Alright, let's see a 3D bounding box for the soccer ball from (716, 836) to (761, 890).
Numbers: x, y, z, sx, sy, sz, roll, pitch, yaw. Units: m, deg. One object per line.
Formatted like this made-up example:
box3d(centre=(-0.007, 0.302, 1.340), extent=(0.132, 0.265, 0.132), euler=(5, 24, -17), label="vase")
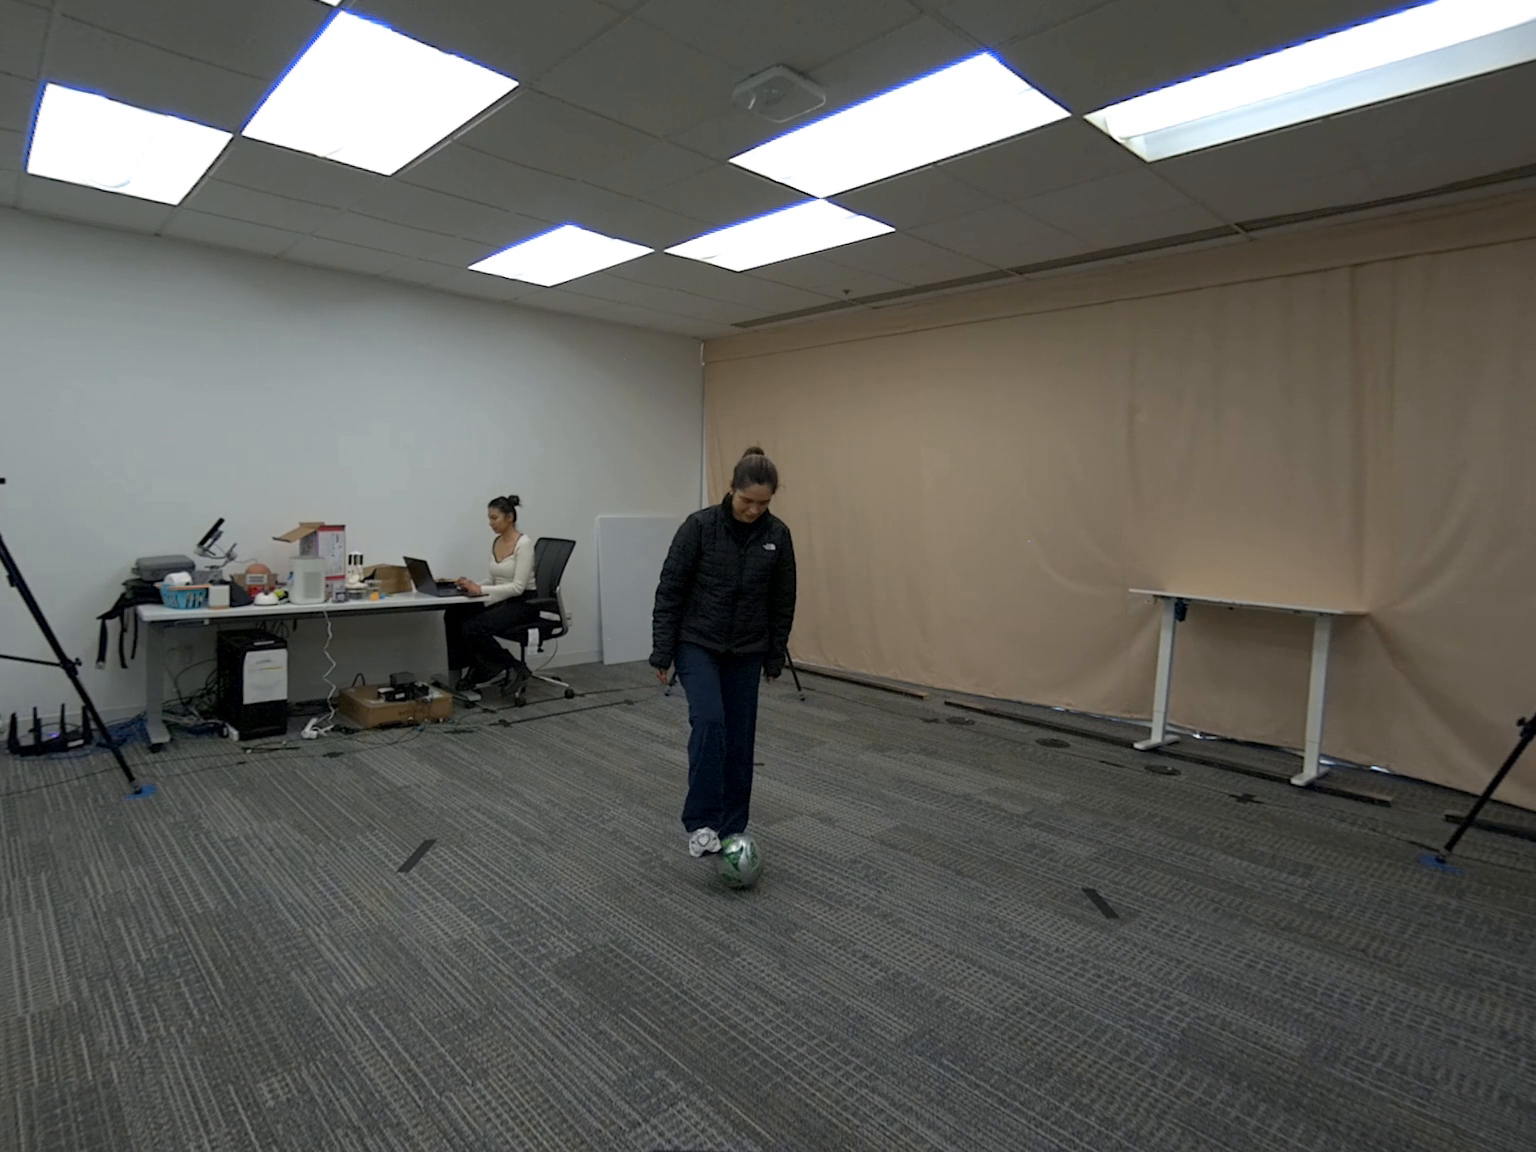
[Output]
box3d(centre=(-0.120, 1.022, 3.015), extent=(0.187, 0.187, 0.188), euler=(1, 4, -1), label="soccer ball")
